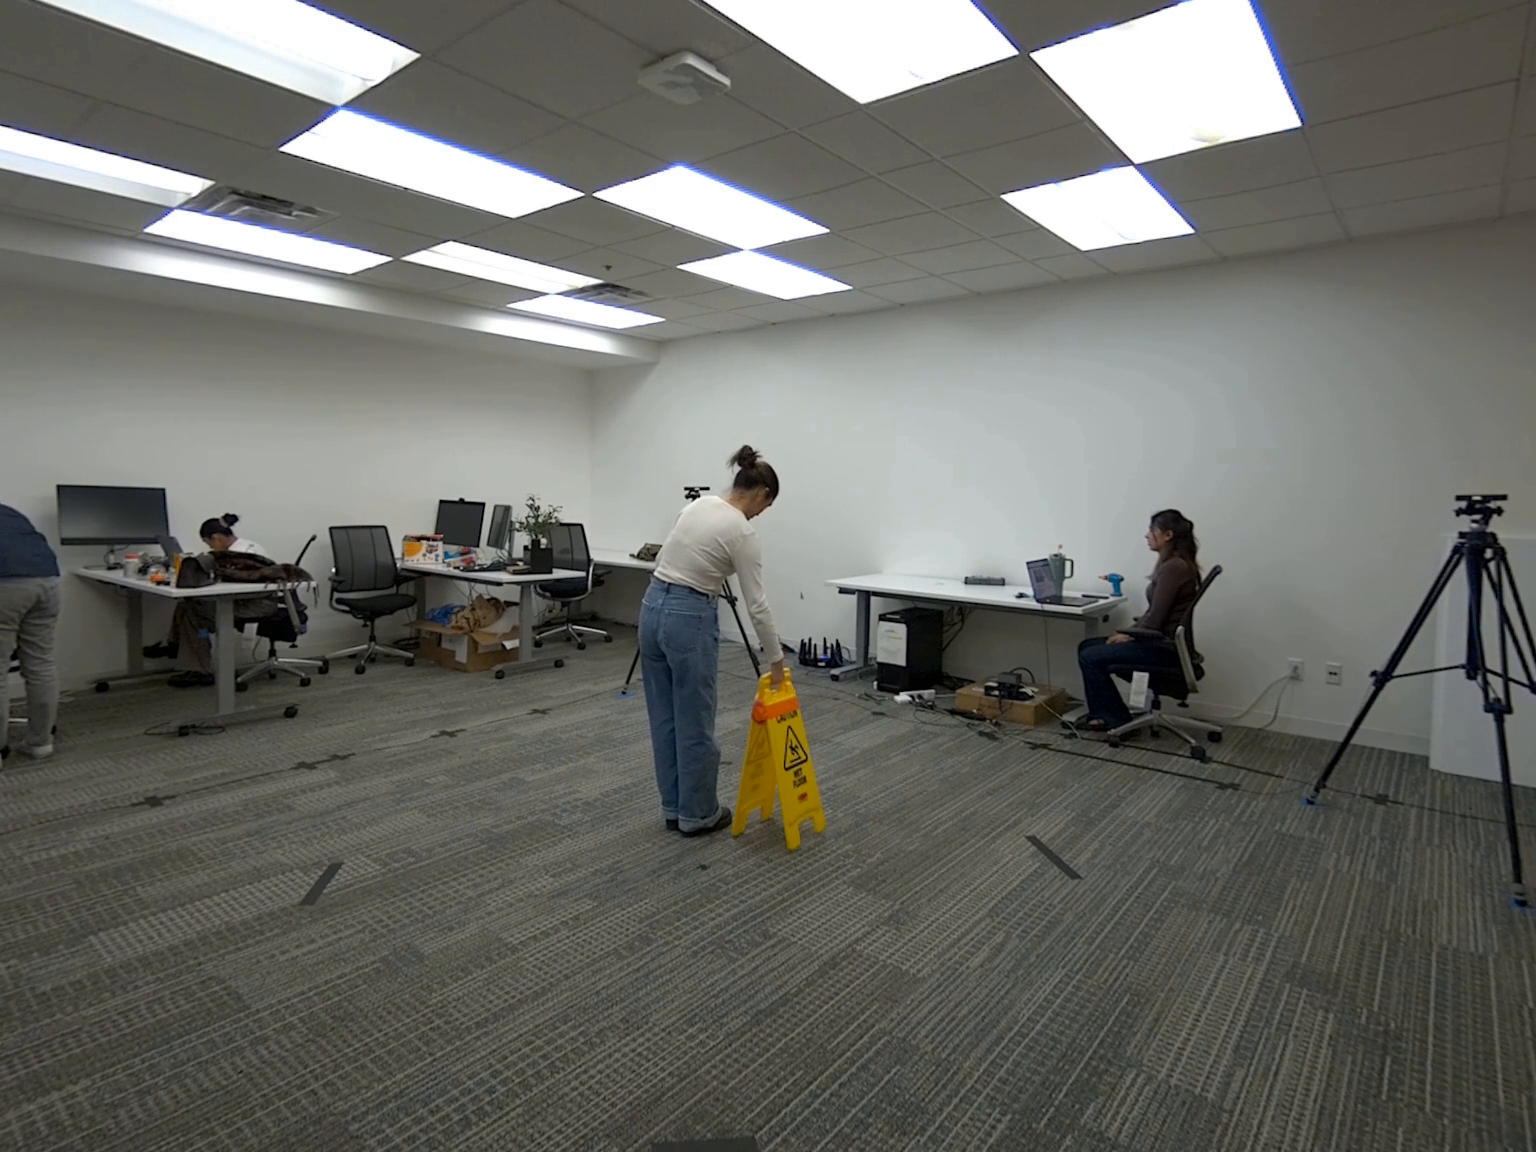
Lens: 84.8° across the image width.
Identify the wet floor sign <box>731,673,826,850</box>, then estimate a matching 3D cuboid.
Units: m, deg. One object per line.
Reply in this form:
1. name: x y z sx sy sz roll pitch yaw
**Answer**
1. wet floor sign: 0.032 0.705 3.407 0.299 0.645 0.274 0 3 36
